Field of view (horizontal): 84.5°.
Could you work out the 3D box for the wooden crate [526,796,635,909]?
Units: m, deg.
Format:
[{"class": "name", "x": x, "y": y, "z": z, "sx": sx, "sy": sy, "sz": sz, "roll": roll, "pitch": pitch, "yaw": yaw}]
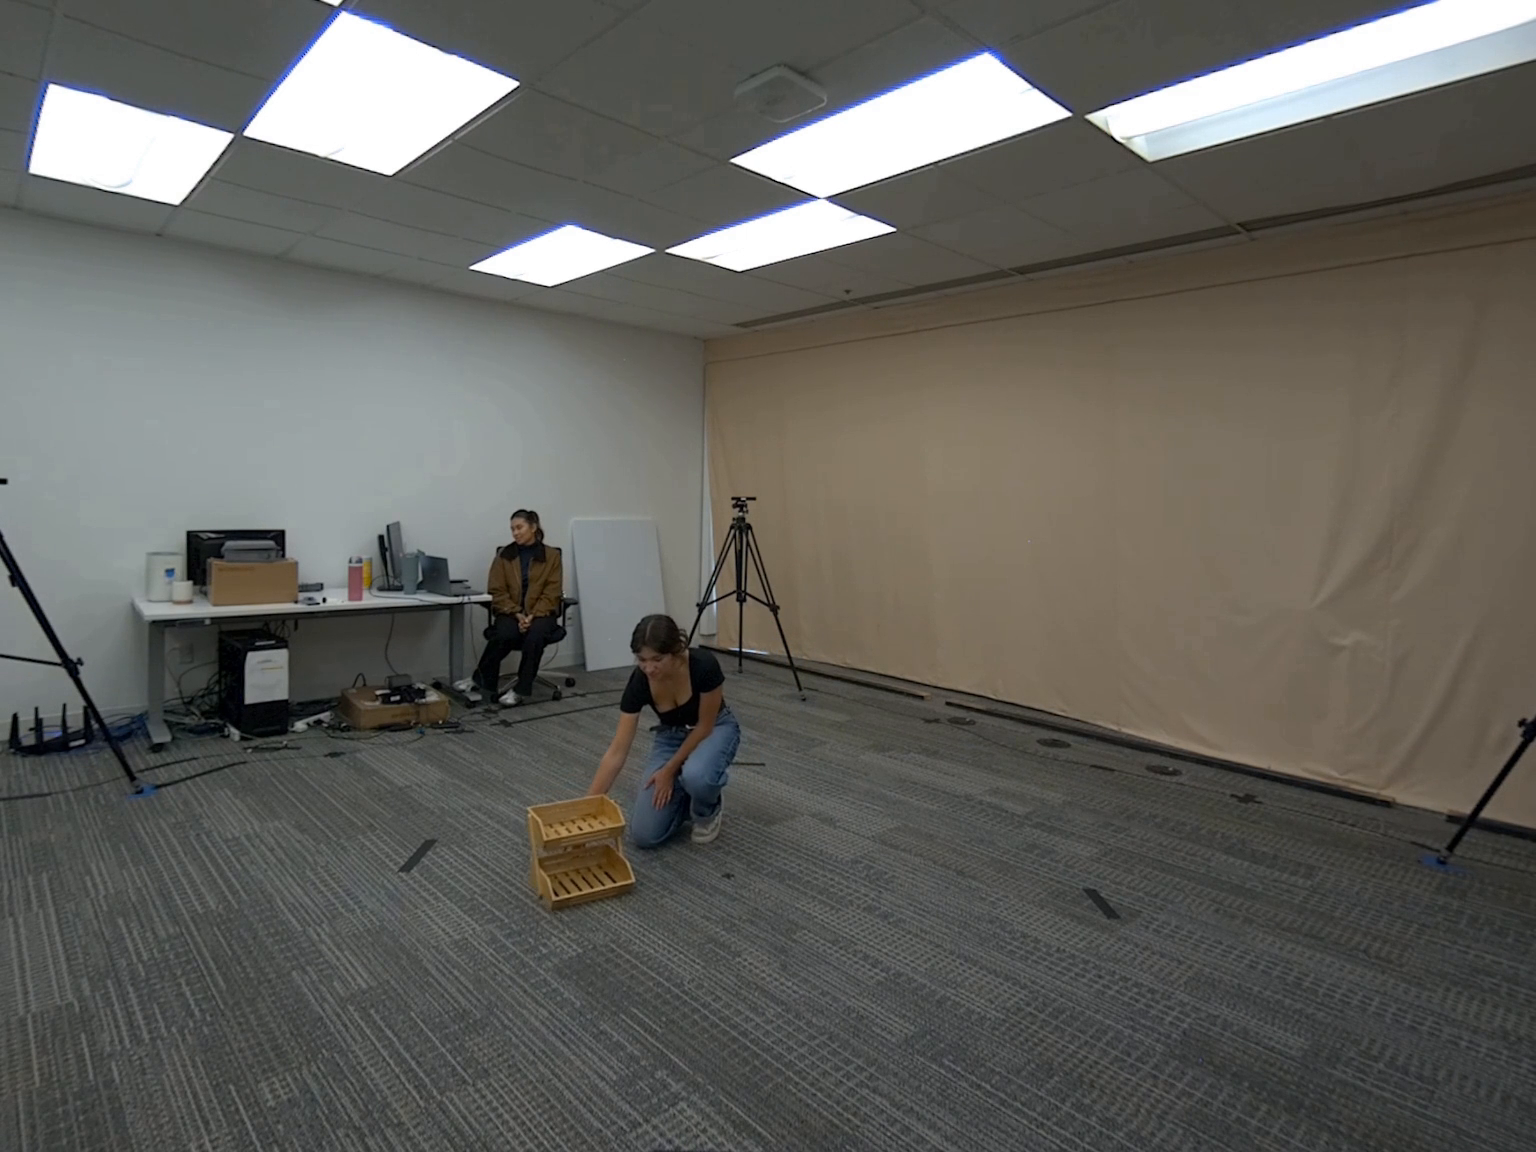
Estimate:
[{"class": "wooden crate", "x": -0.675, "y": 0.972, "z": 2.989, "sx": 0.317, "sy": 0.273, "sz": 0.309, "roll": -1, "pitch": 4, "yaw": -33}]
